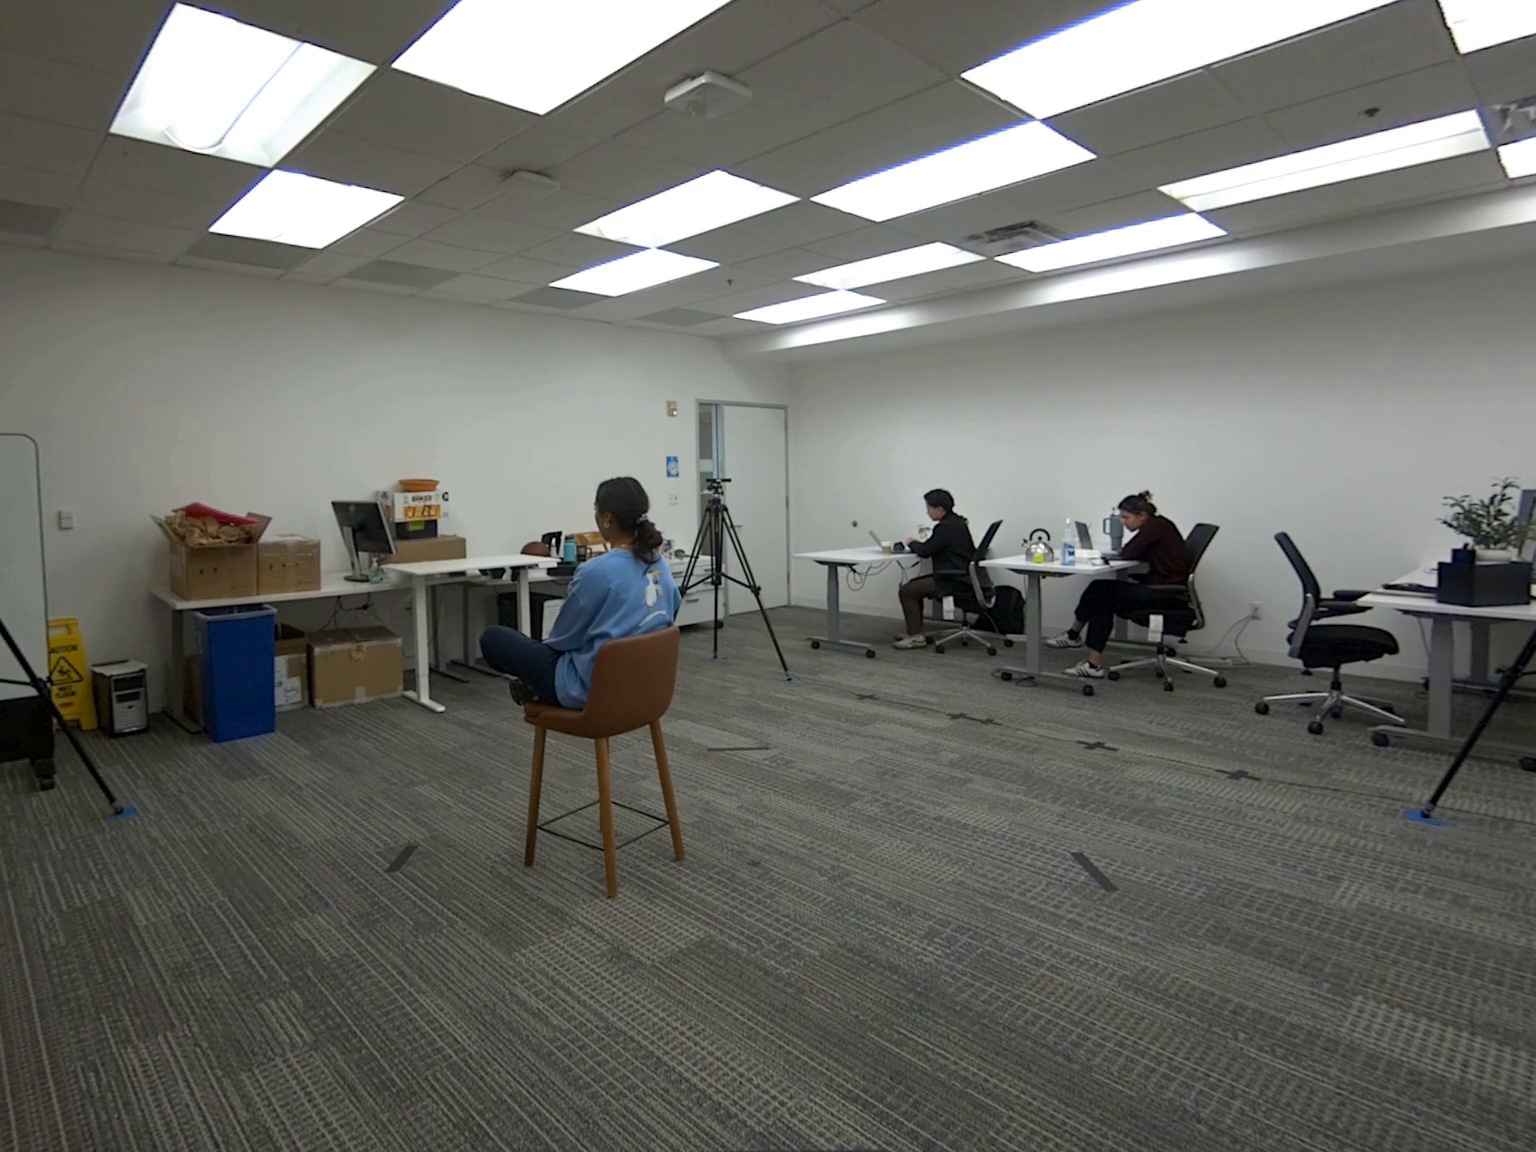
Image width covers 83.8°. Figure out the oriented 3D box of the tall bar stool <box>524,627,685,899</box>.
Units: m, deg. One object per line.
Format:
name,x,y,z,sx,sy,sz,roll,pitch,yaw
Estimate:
tall bar stool,-0.595,0.620,3.112,0.482,0.885,0.445,4,7,37
